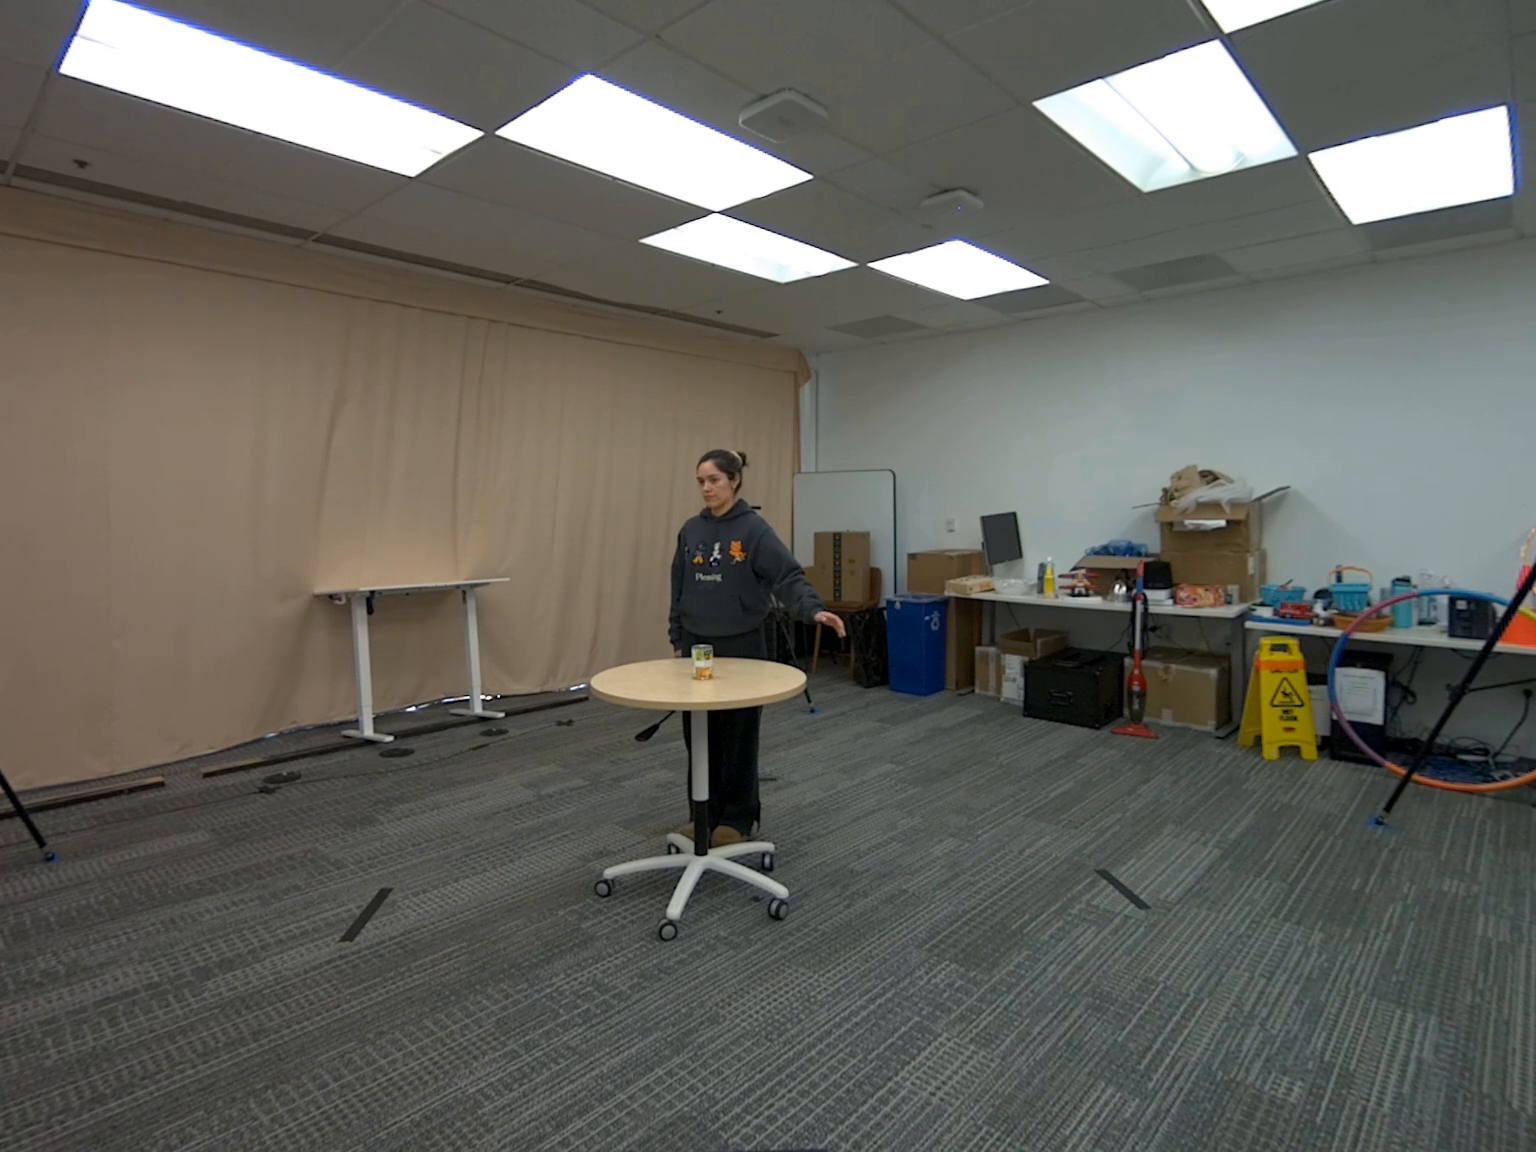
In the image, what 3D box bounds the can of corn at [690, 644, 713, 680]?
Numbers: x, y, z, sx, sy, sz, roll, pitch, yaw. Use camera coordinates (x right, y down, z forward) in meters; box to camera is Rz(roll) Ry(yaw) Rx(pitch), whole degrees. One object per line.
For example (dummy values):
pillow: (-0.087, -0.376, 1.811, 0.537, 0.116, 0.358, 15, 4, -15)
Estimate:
can of corn: (-0.221, 0.305, 2.988, 0.074, 0.111, 0.074, -2, 2, -2)
